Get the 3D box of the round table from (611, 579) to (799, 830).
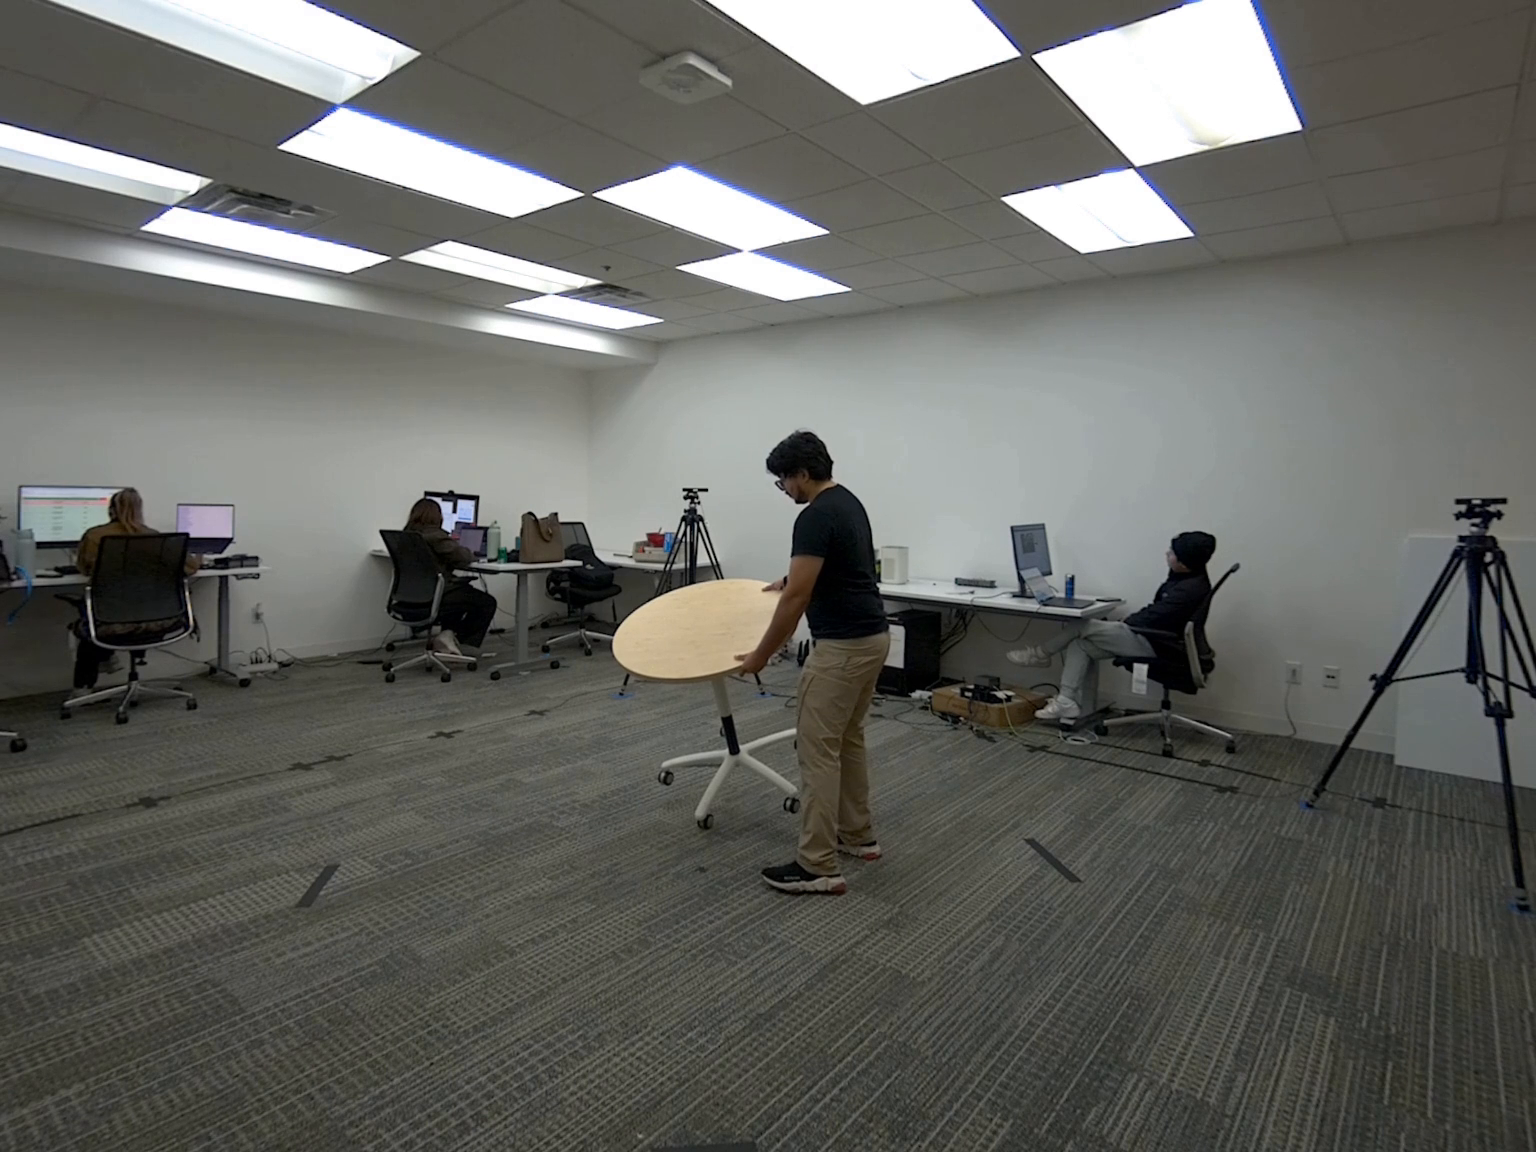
[{"bbox_3d":[-0.198,0.534,3.614,0.788,0.767,0.803,-10,24,3],"label":"round table"}]
